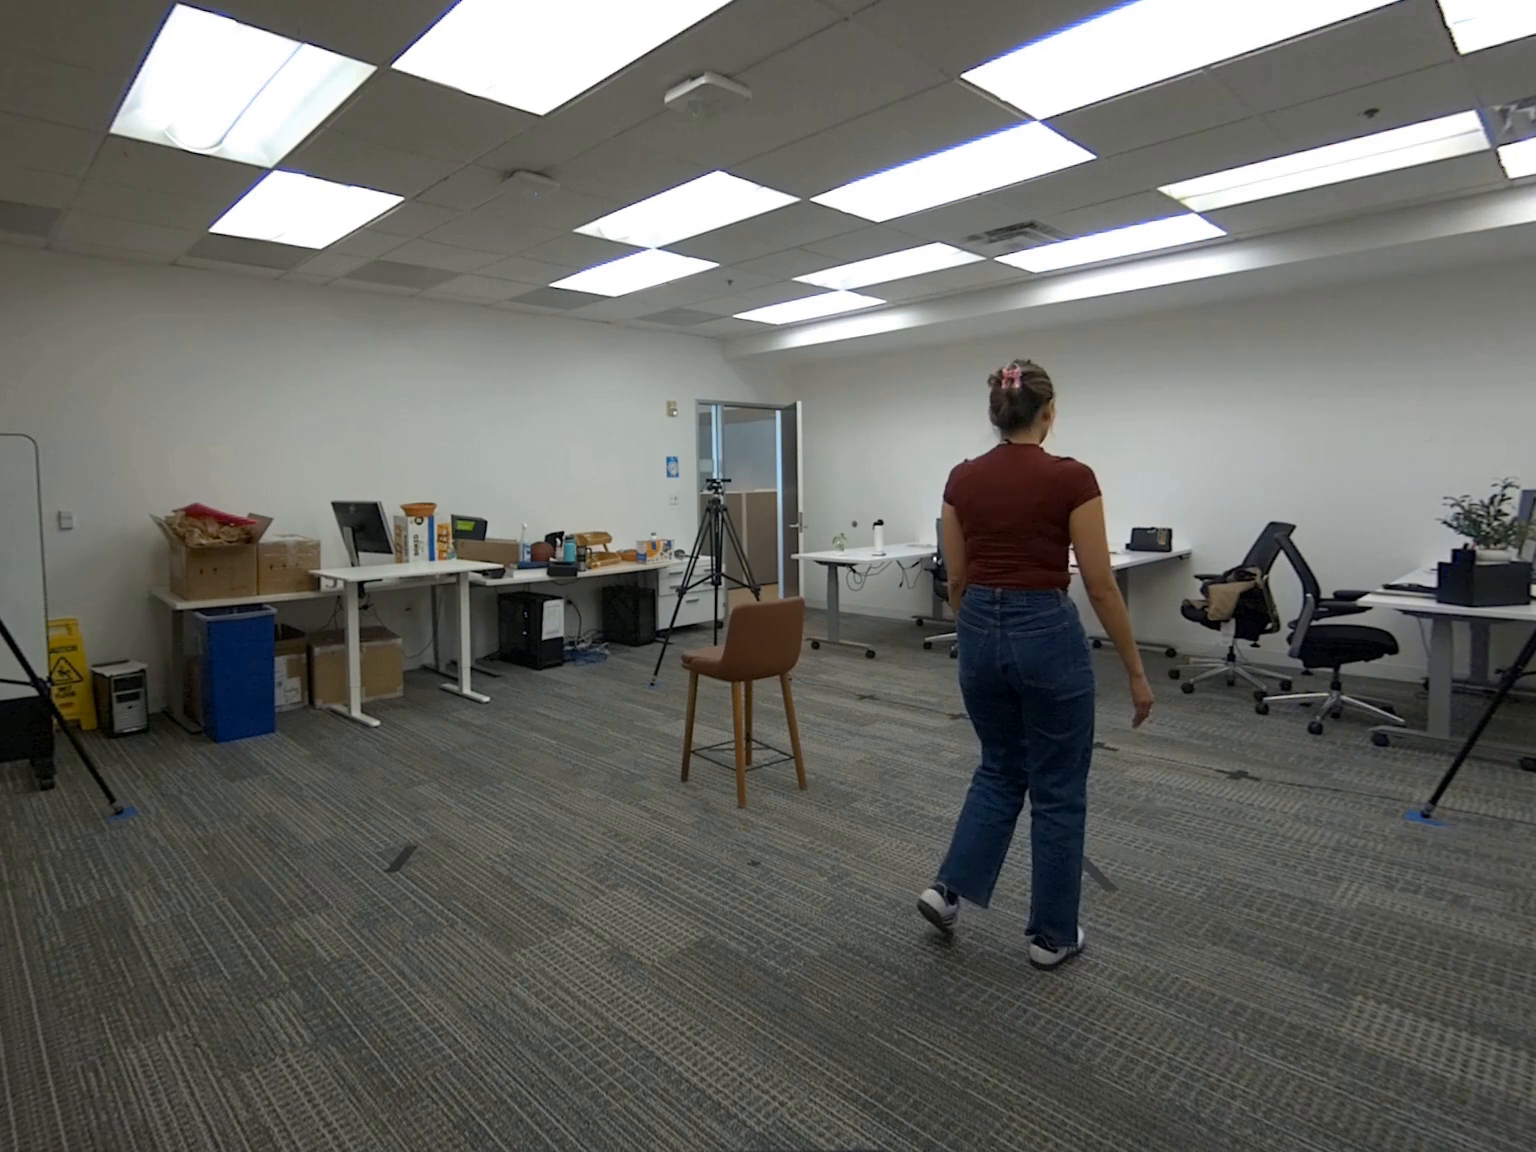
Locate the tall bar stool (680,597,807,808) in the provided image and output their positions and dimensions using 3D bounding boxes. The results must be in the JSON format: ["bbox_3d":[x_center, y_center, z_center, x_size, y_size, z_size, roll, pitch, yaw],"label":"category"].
[{"bbox_3d":[-0.115,0.525,3.891,0.444,0.886,0.482,-4,6,-38],"label":"tall bar stool"}]
